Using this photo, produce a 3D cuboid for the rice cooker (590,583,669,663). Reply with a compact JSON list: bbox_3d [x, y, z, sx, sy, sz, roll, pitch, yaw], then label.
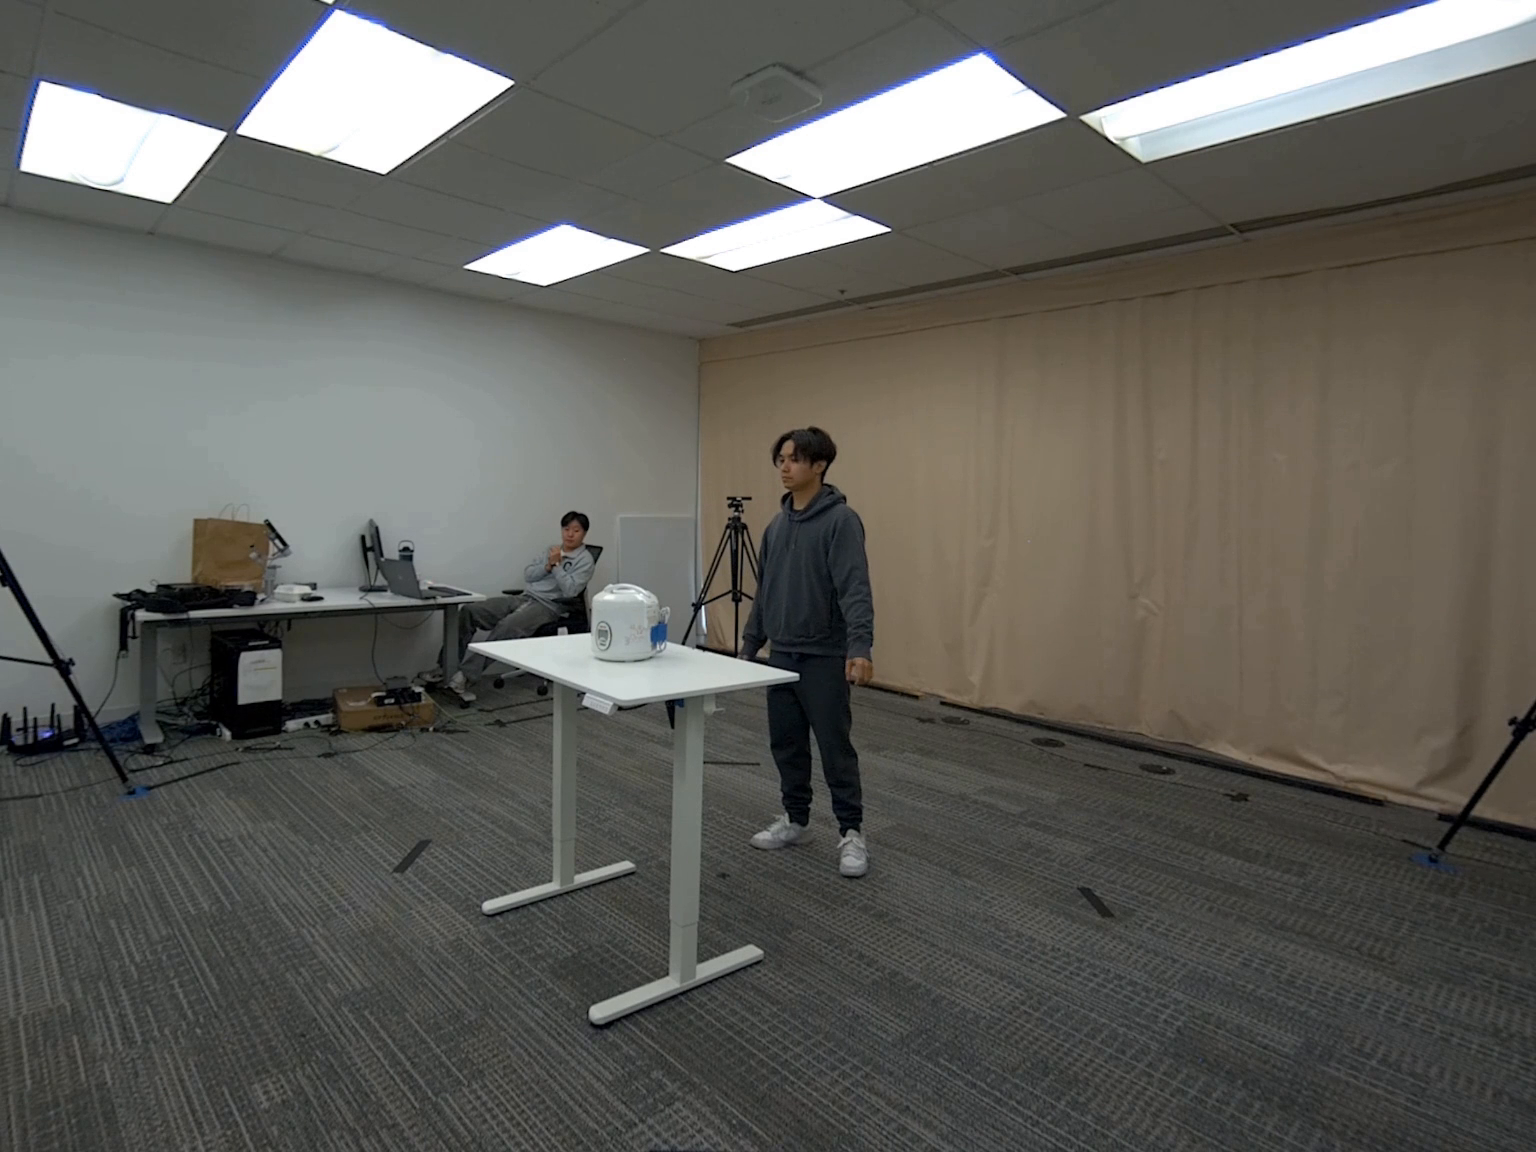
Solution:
[{"bbox_3d":[-0.457,0.144,2.637,0.225,0.233,0.213,2,1,29],"label":"rice cooker"}]
